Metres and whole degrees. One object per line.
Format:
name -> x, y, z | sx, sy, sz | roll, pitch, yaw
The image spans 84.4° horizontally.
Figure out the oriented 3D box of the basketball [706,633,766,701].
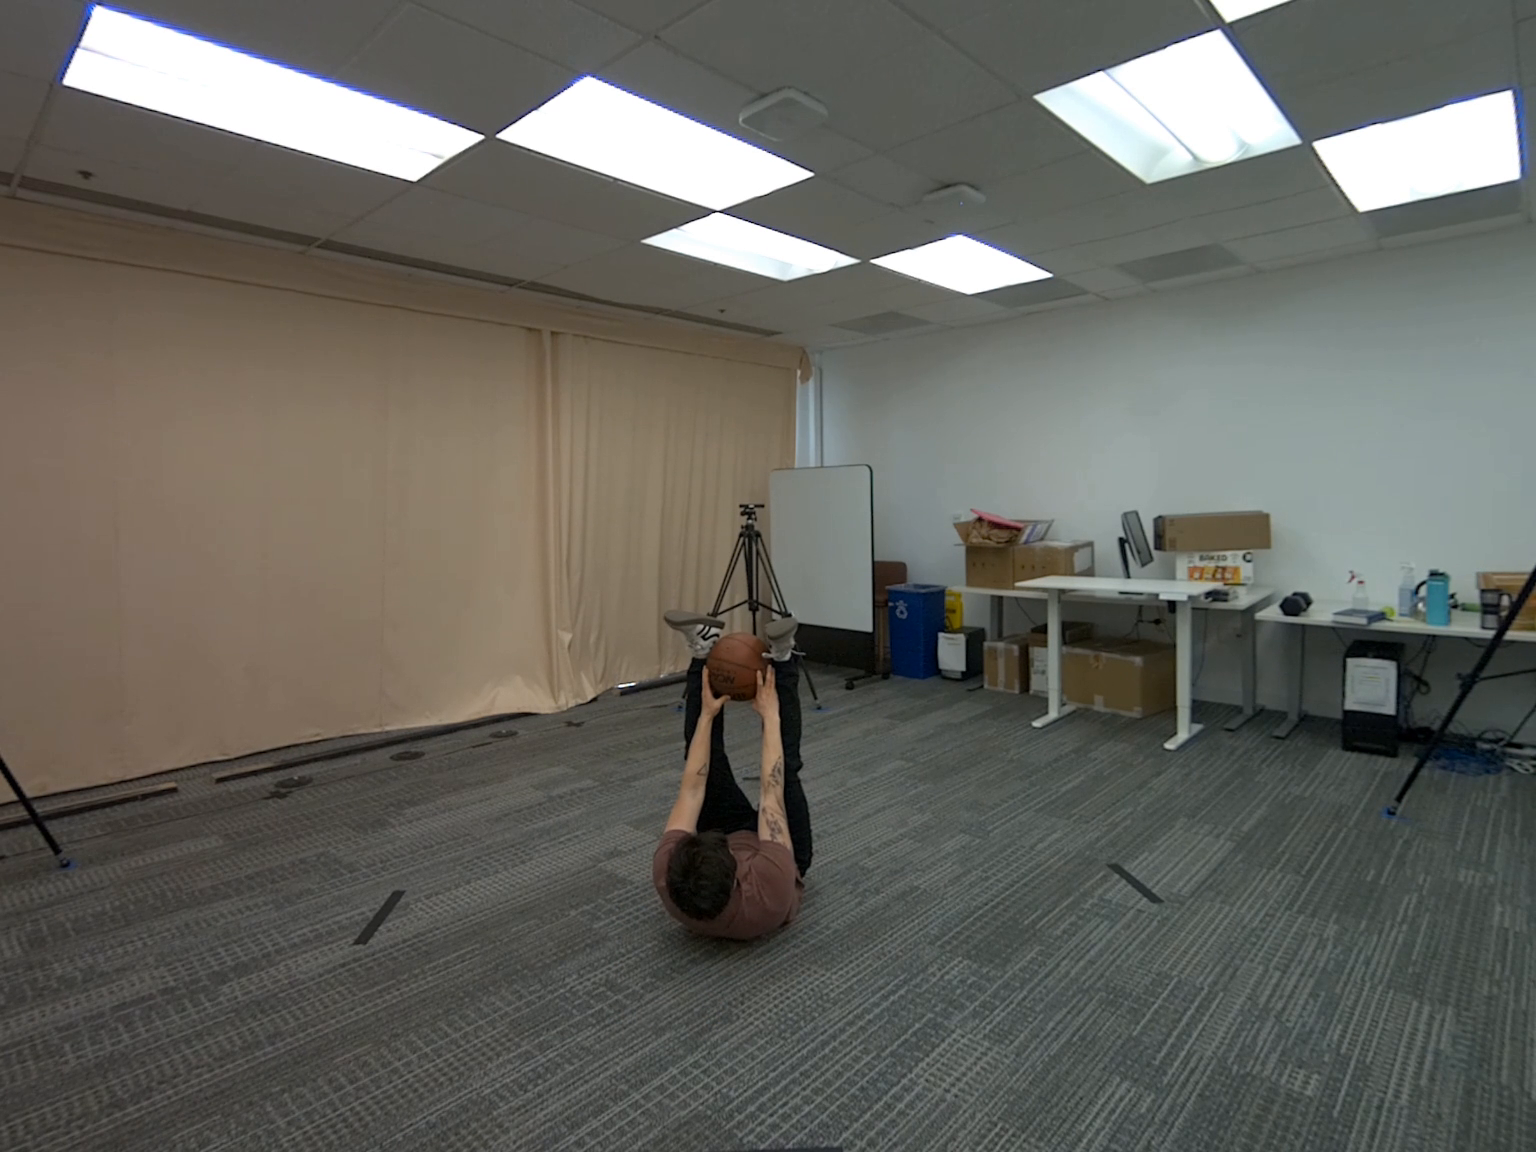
basketball -> -0.089, 0.311, 2.906 | 0.235, 0.235, 0.237 | 3, 5, -2
